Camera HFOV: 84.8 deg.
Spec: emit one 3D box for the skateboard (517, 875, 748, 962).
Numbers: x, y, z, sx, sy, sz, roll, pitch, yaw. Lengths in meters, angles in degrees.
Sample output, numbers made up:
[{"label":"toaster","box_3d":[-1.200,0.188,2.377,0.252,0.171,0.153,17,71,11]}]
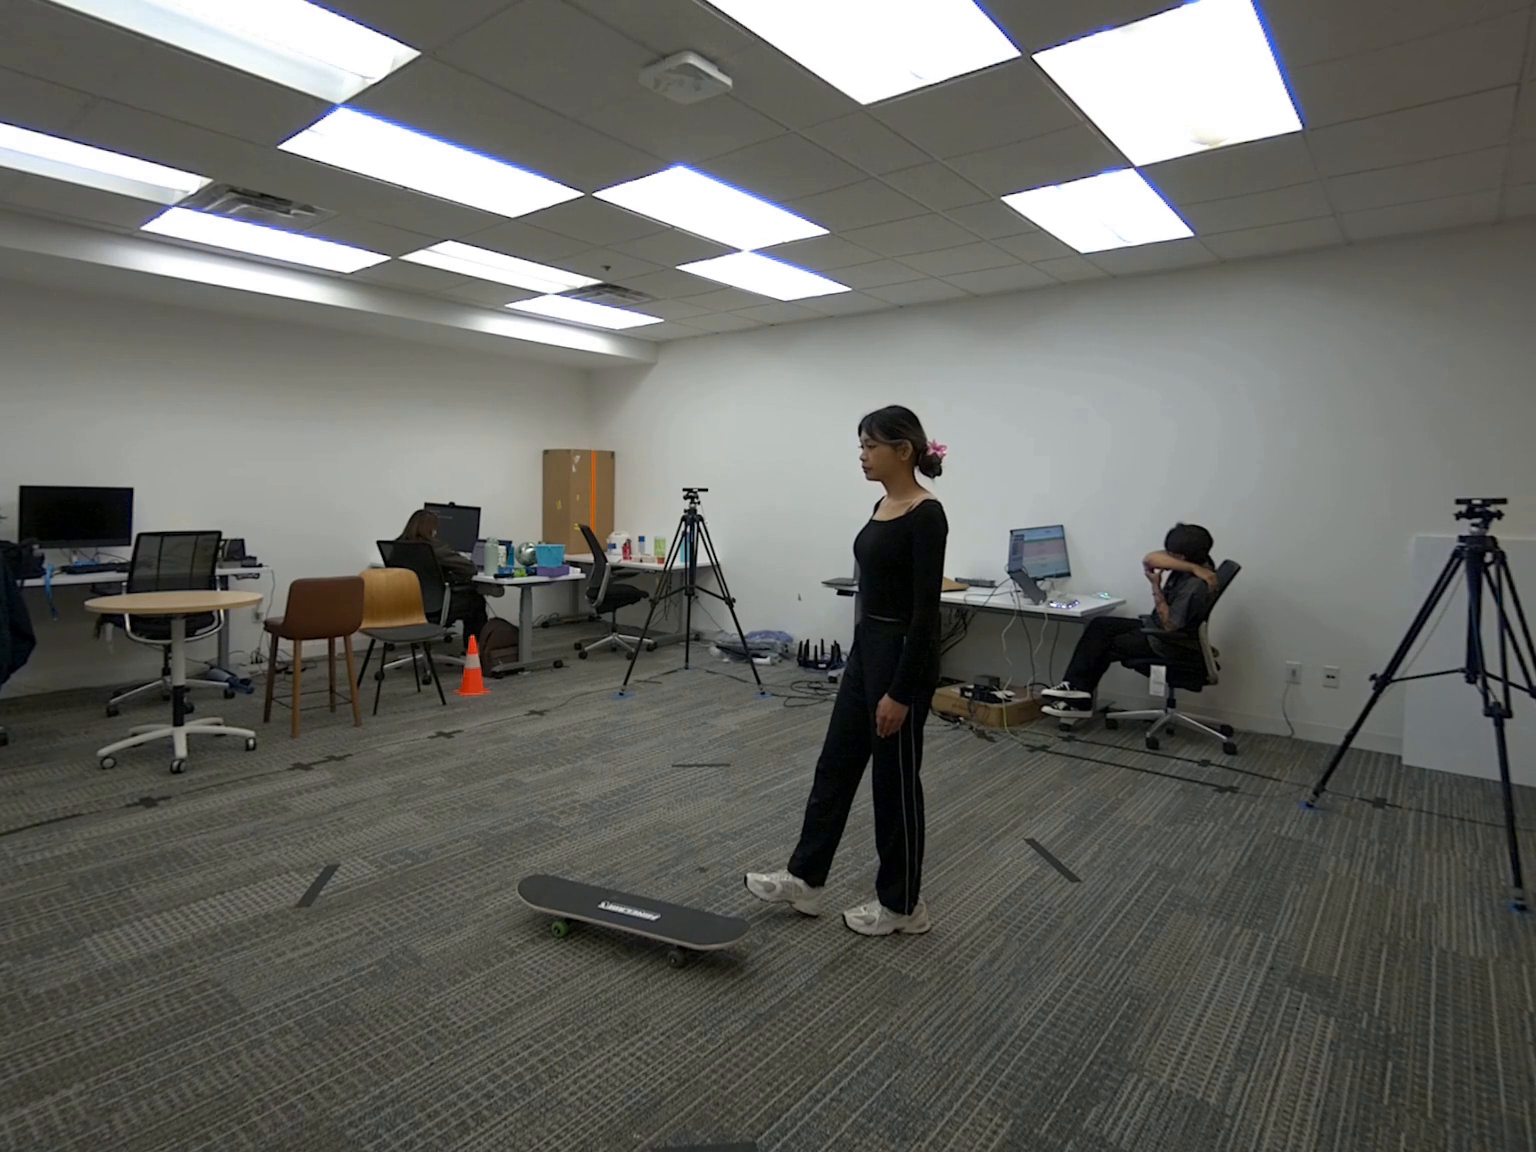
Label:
[{"label":"skateboard","box_3d":[-0.441,1.054,2.620,0.803,0.110,0.190,3,6,21]}]
